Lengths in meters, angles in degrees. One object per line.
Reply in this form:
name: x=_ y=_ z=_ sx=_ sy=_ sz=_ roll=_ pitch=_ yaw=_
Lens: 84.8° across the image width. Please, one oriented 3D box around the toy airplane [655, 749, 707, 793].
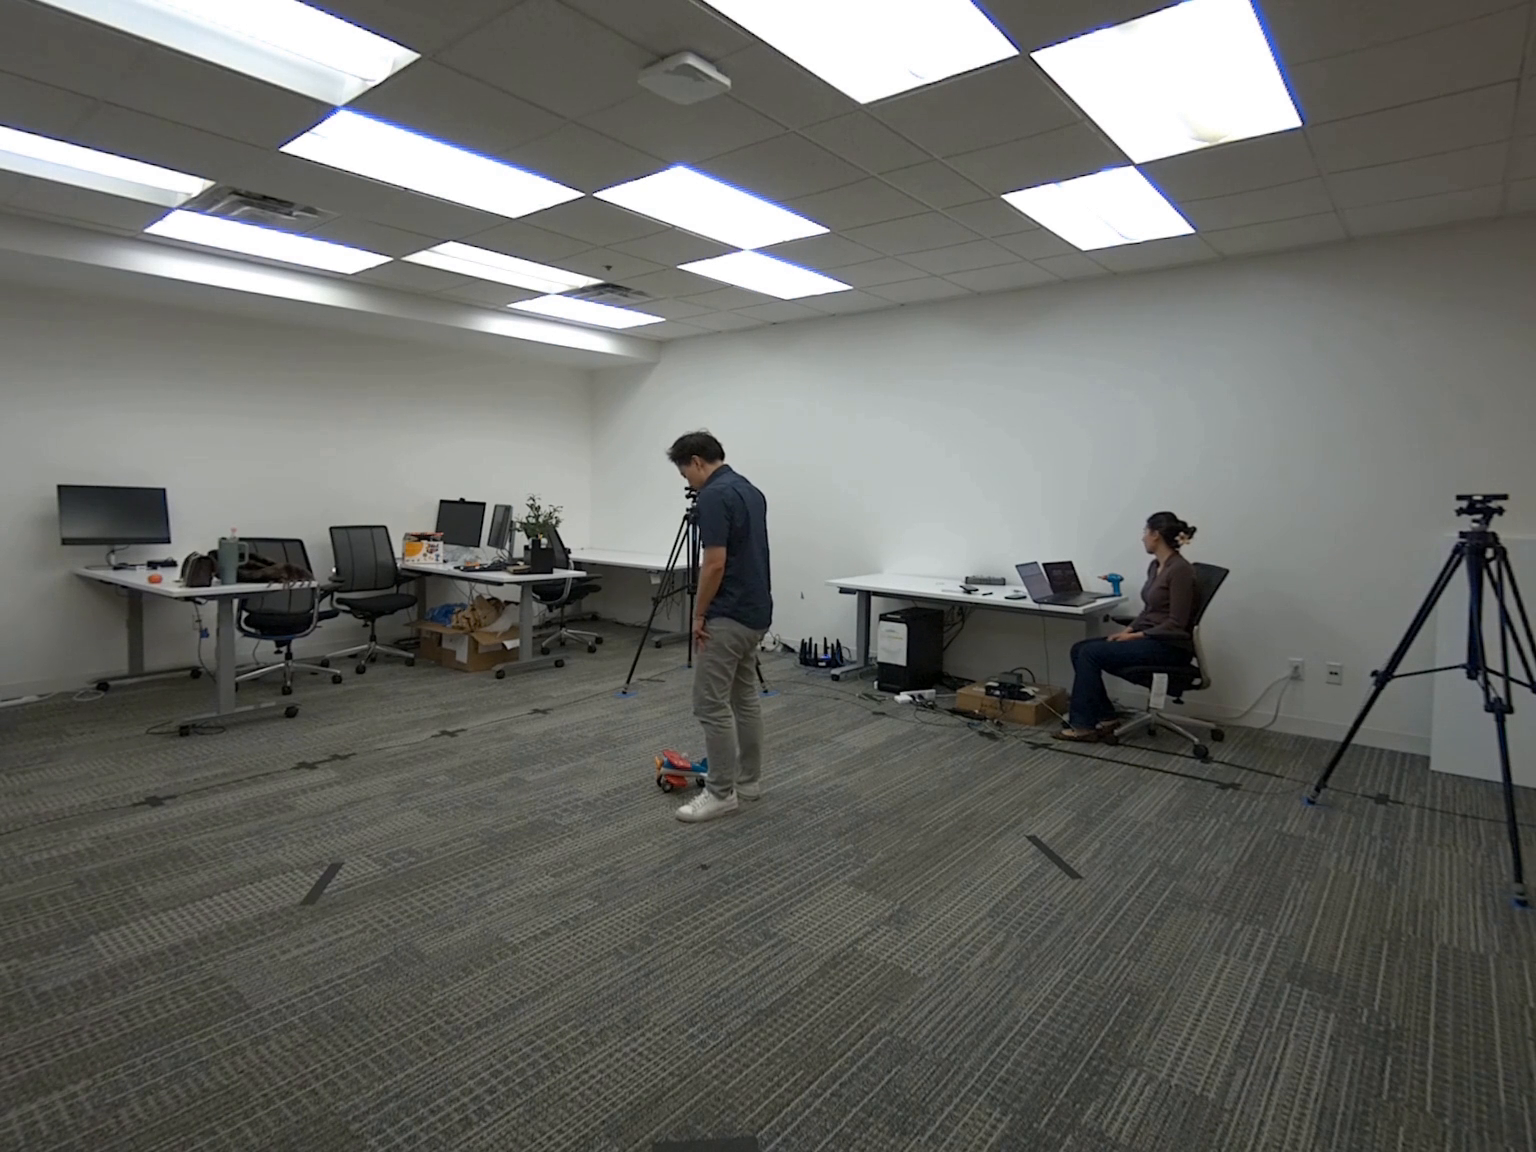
toy airplane: x=-0.418 y=0.908 z=3.973 sx=0.259 sy=0.156 sz=0.251 roll=4 pitch=6 yaw=41
